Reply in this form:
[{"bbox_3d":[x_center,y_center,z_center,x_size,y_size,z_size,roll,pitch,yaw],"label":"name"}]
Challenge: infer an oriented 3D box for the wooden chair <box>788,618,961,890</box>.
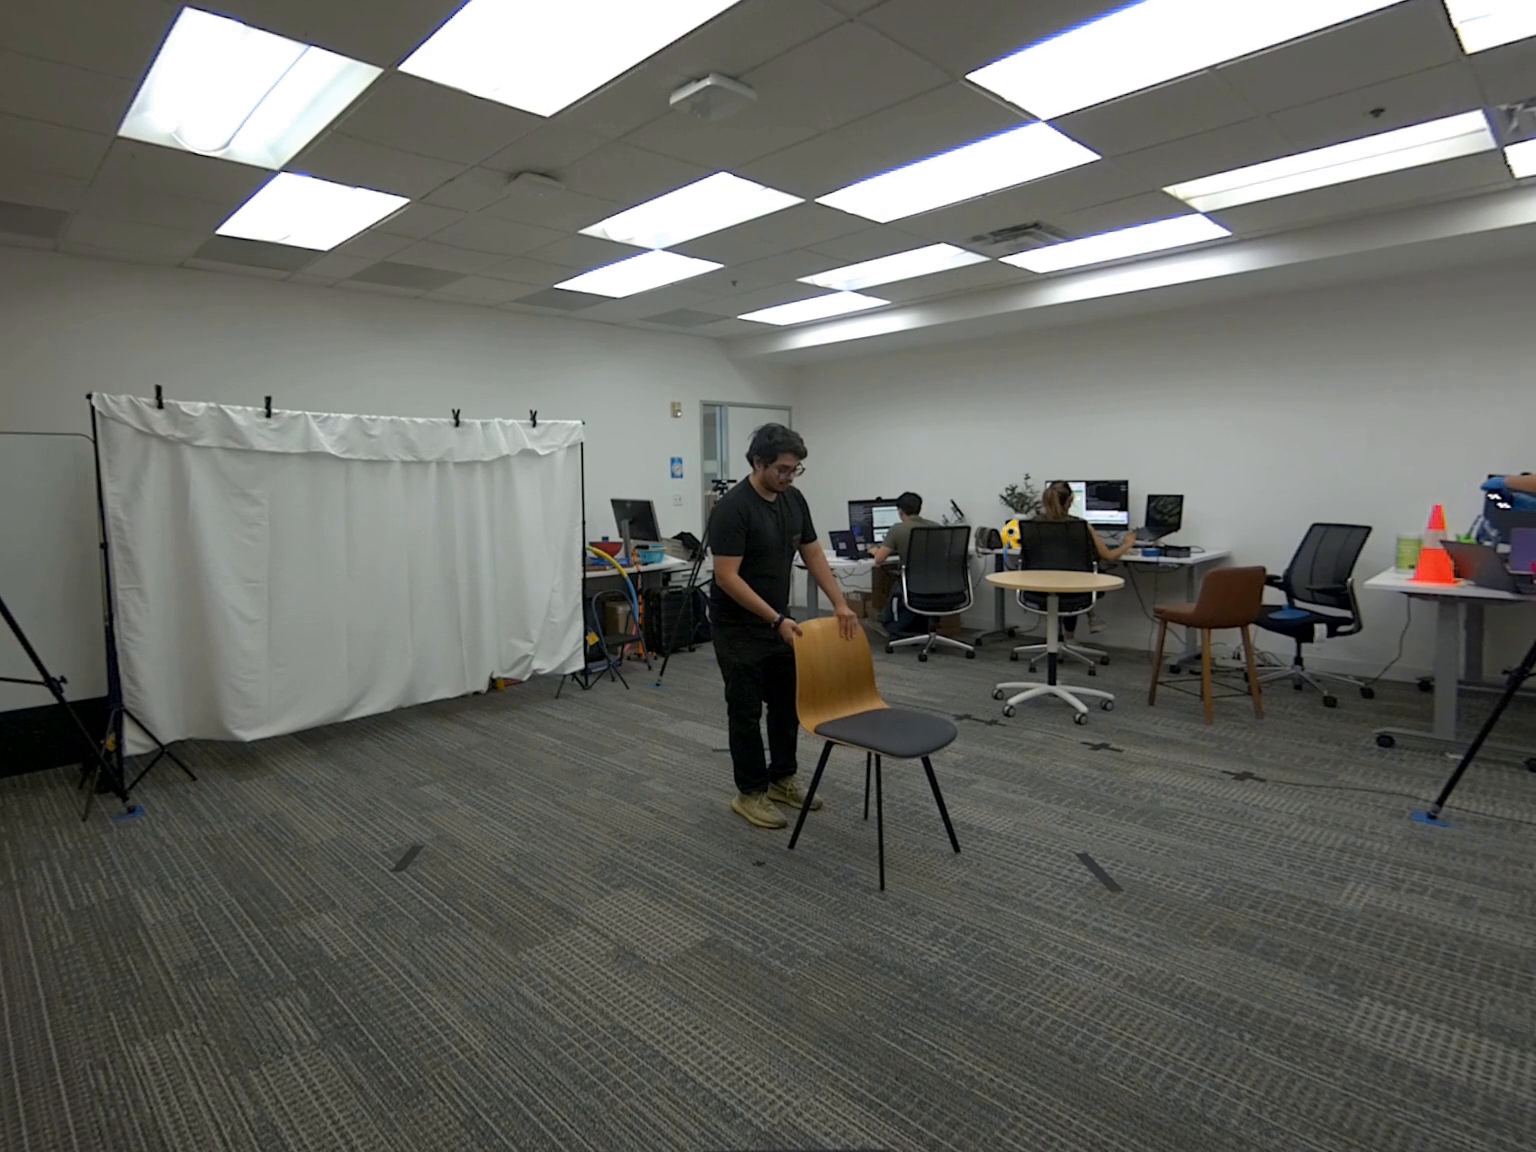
[{"bbox_3d":[0.395,0.606,3.163,0.465,0.877,0.537,-4,1,-41],"label":"wooden chair"}]
